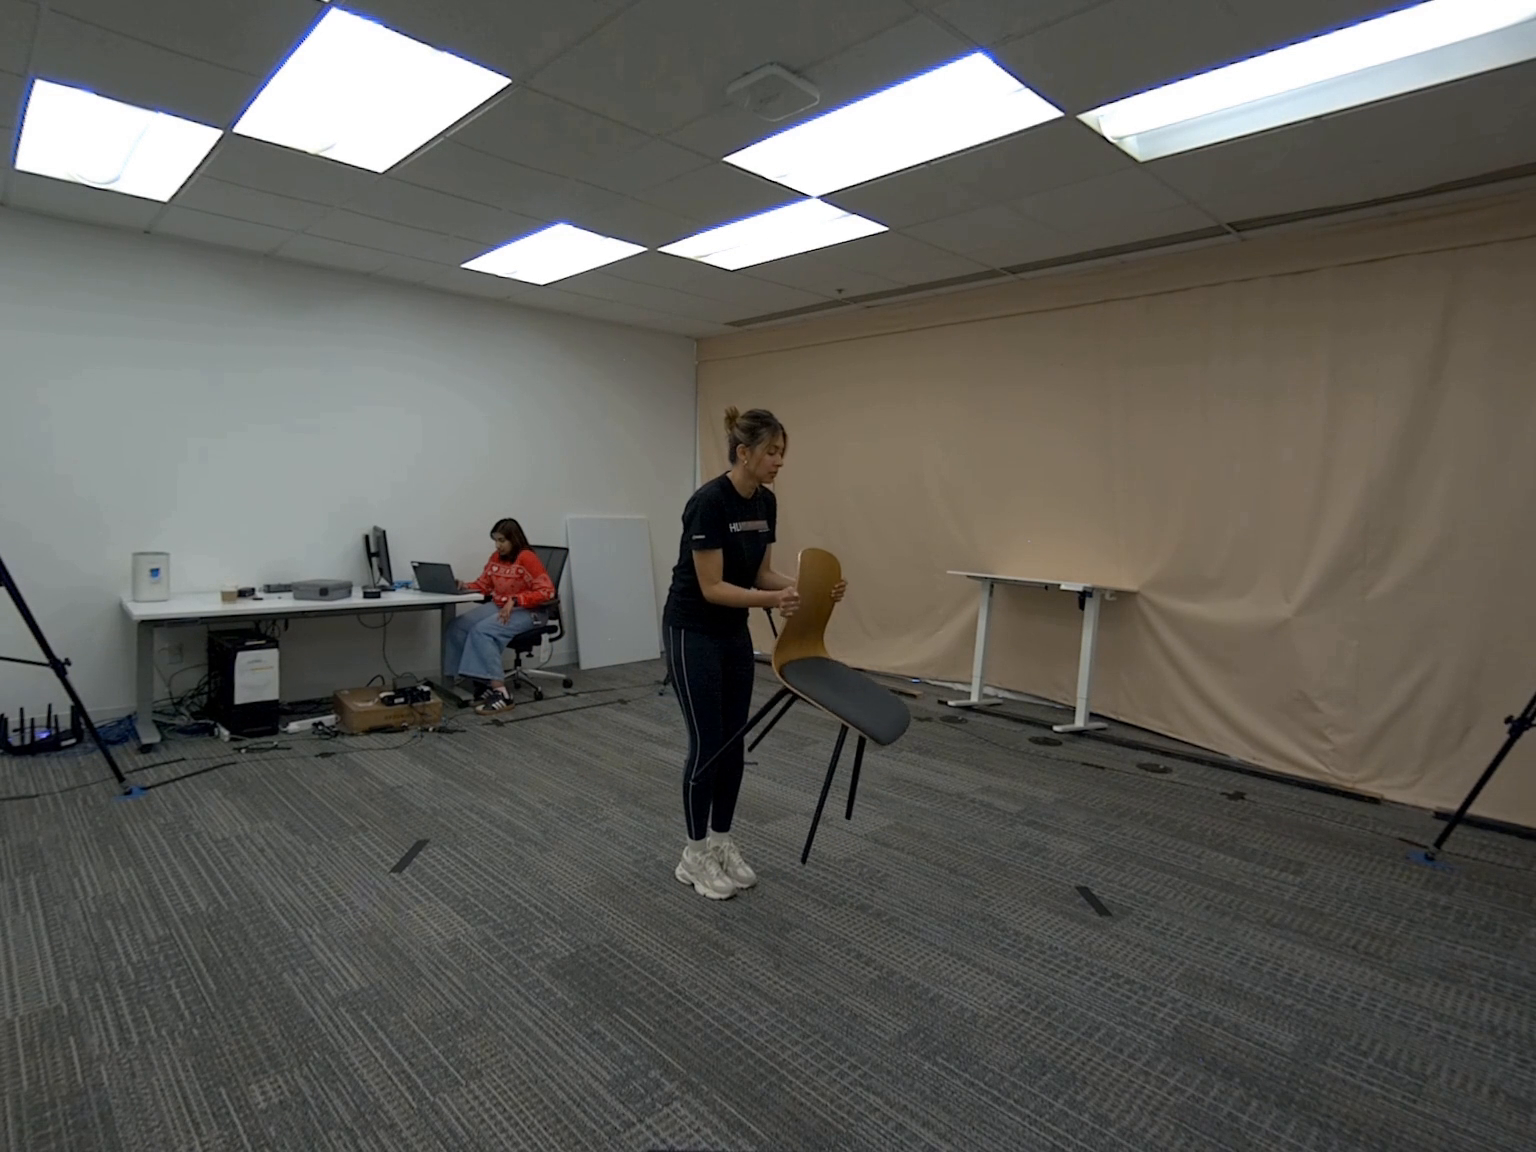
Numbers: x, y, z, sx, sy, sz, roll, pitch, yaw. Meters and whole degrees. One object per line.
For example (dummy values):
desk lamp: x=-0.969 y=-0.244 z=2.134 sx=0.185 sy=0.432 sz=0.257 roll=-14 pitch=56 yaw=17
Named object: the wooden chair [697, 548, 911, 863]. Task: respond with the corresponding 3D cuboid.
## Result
wooden chair: x=0.202 y=0.416 z=2.801 sx=0.535 sy=0.873 sz=0.469 roll=26 pitch=12 yaw=23
